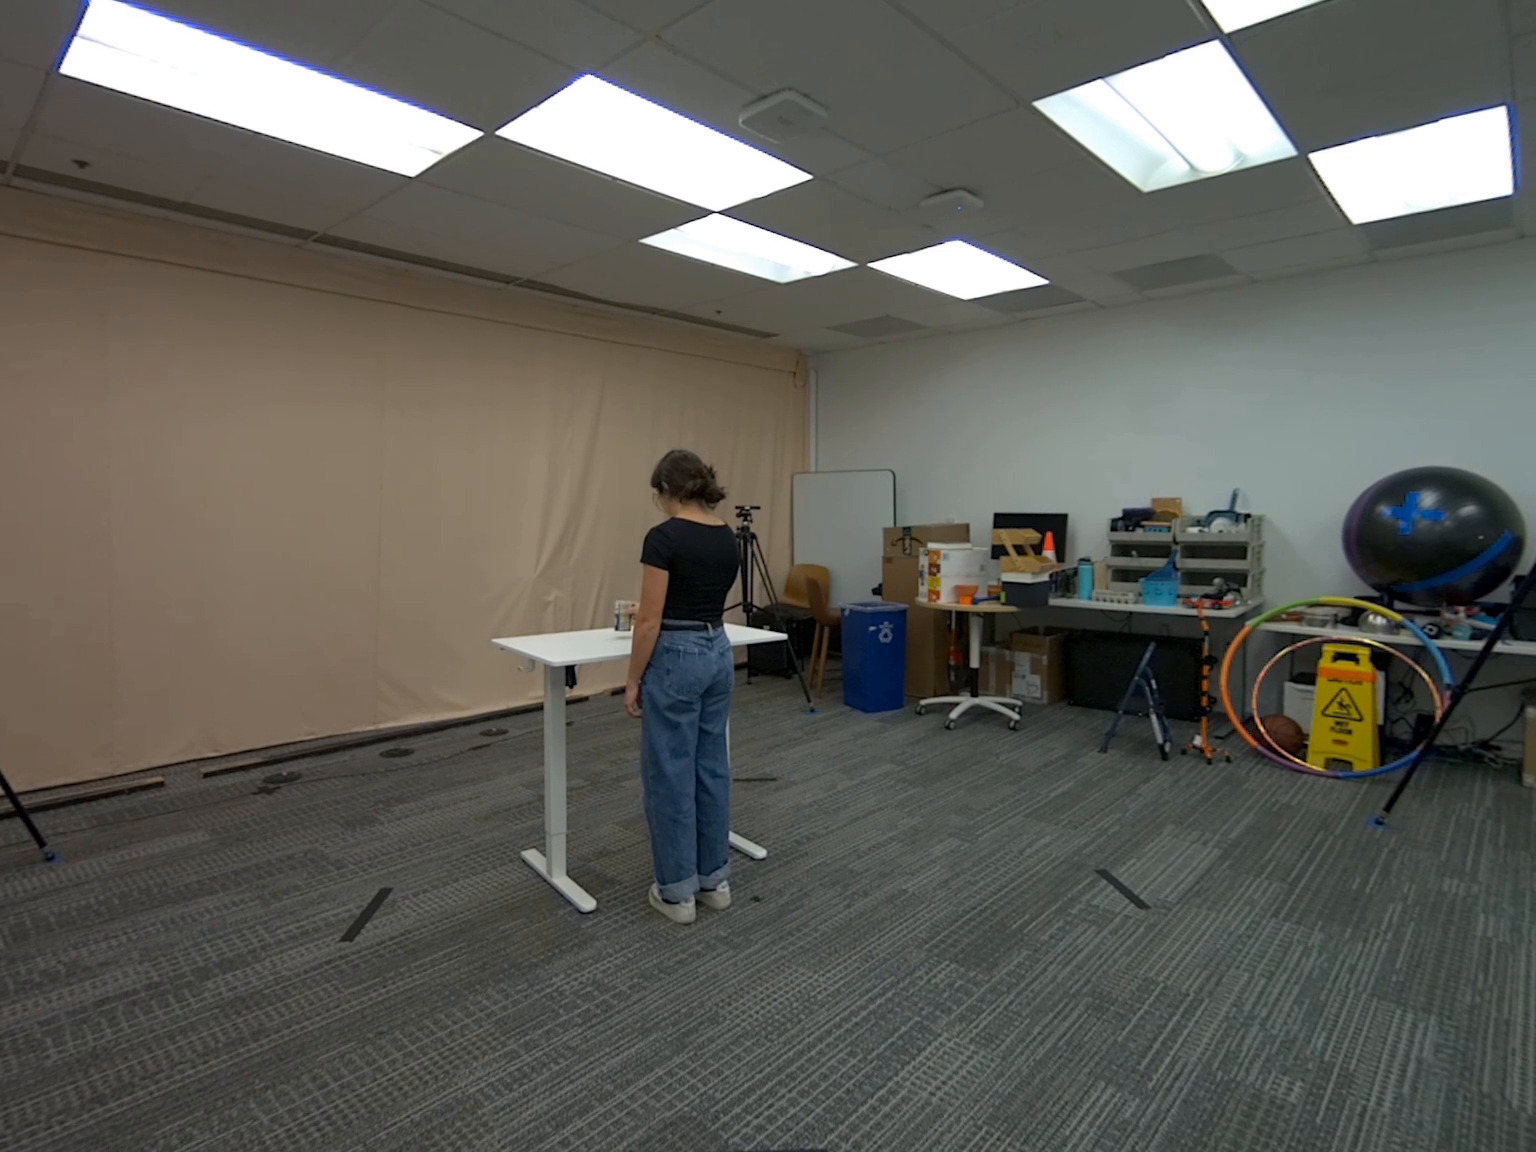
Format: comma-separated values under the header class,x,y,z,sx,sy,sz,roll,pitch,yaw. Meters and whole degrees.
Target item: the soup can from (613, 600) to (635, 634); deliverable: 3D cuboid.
class,x,y,z,sx,sy,sz,roll,pitch,yaw
soup can,-0.569,0.159,3.279,0.067,0.121,0.067,0,0,-2
